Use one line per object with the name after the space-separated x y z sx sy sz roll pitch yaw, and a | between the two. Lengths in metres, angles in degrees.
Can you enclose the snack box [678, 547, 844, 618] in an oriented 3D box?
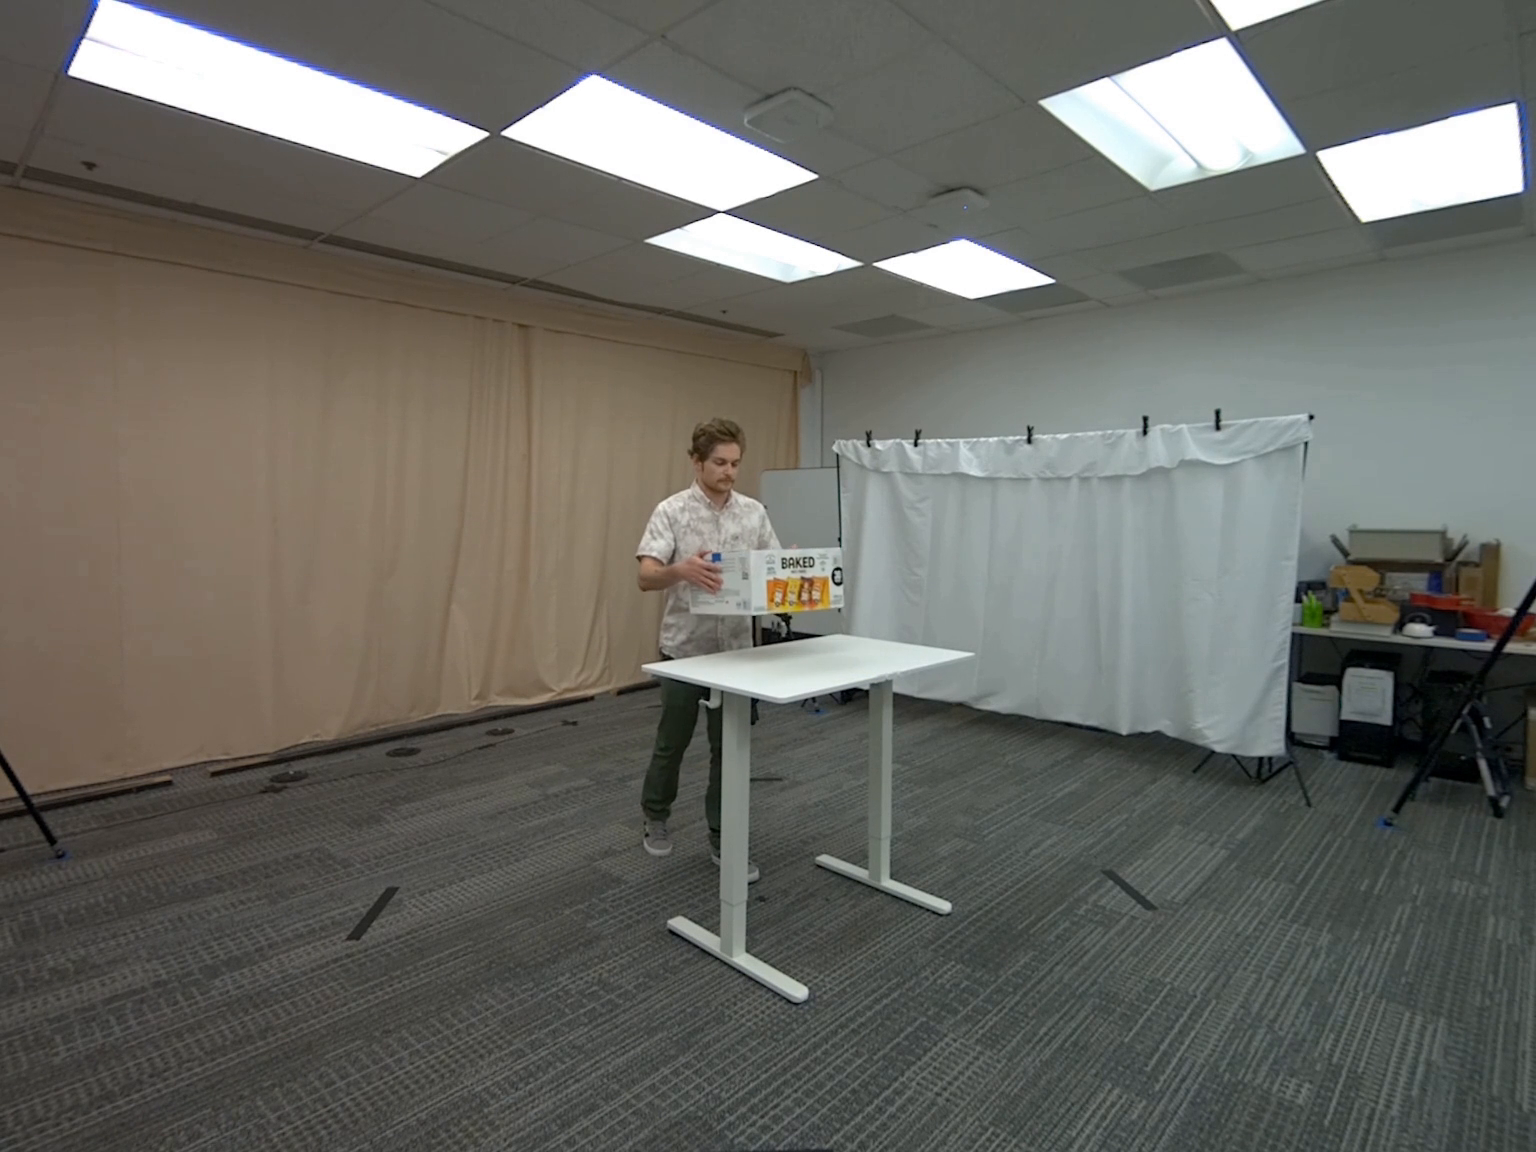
-0.004 0.019 2.849 0.393 0.206 0.350 -3 0 -39 | snack box
